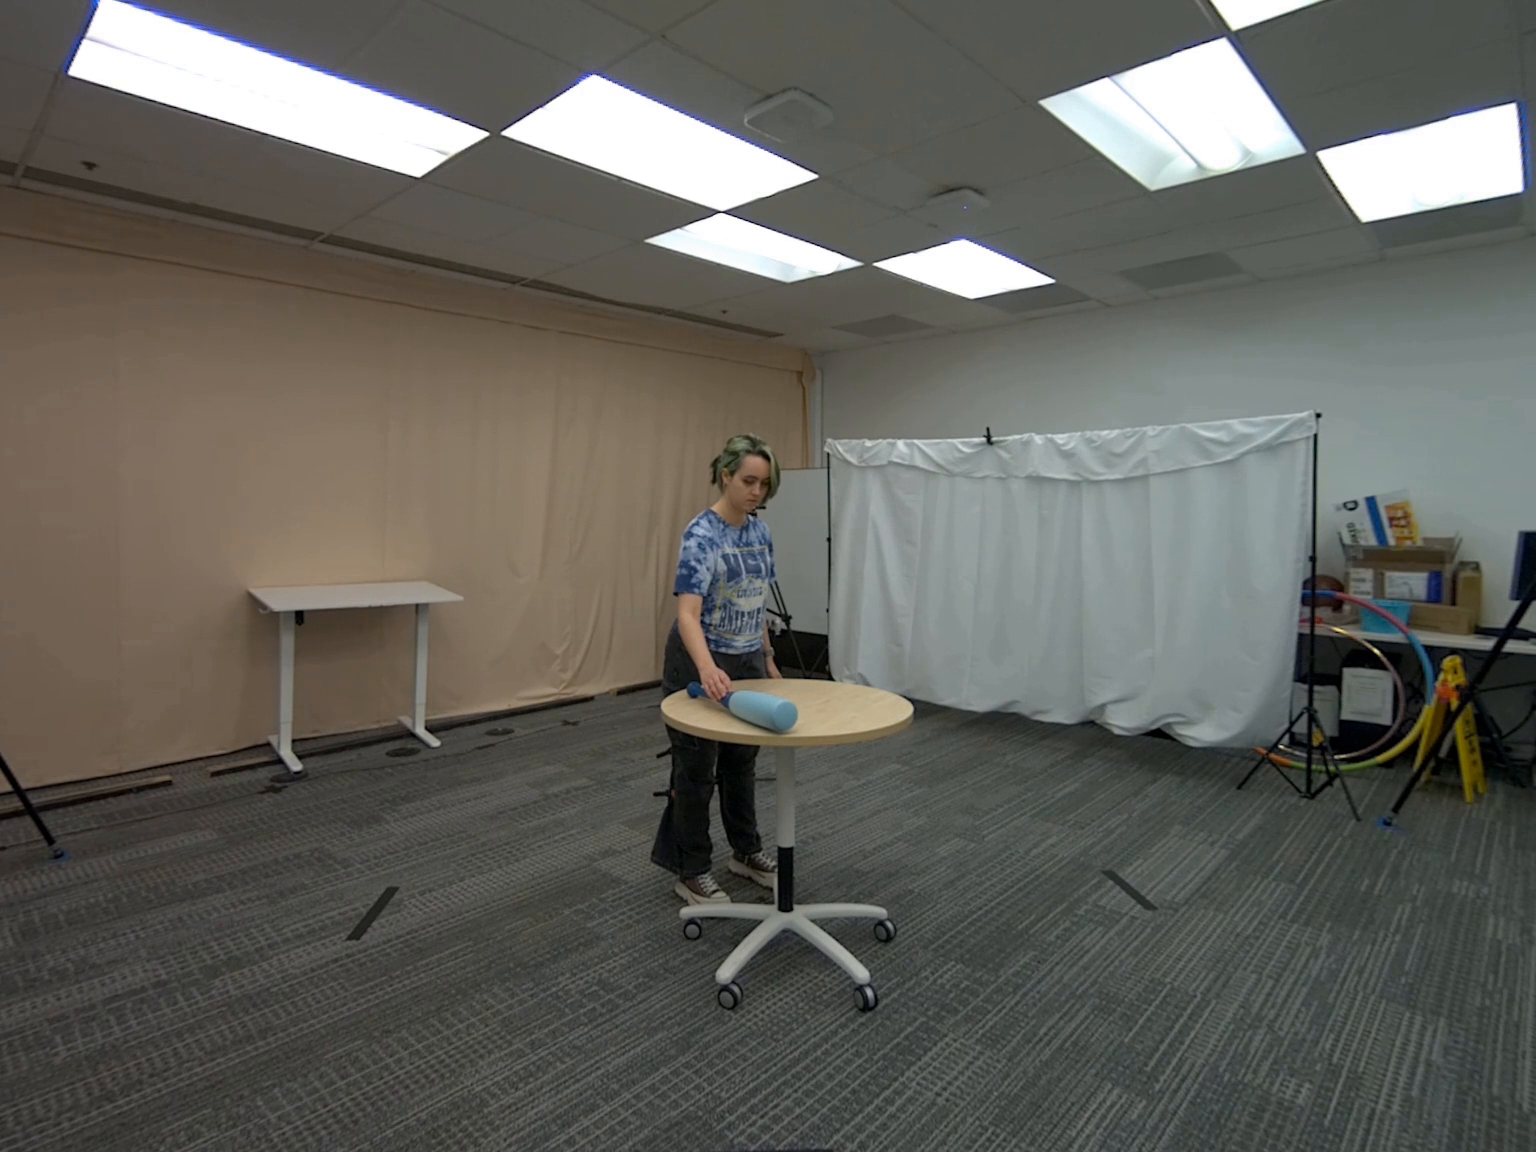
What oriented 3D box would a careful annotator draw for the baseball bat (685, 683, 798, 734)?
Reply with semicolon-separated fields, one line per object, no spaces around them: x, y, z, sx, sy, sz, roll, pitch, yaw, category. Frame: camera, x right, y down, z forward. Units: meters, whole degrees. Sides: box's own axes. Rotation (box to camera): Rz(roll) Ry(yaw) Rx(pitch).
-0.096;0.371;2.442;0.087;0.089;0.558;-2;1;-30;baseball bat
